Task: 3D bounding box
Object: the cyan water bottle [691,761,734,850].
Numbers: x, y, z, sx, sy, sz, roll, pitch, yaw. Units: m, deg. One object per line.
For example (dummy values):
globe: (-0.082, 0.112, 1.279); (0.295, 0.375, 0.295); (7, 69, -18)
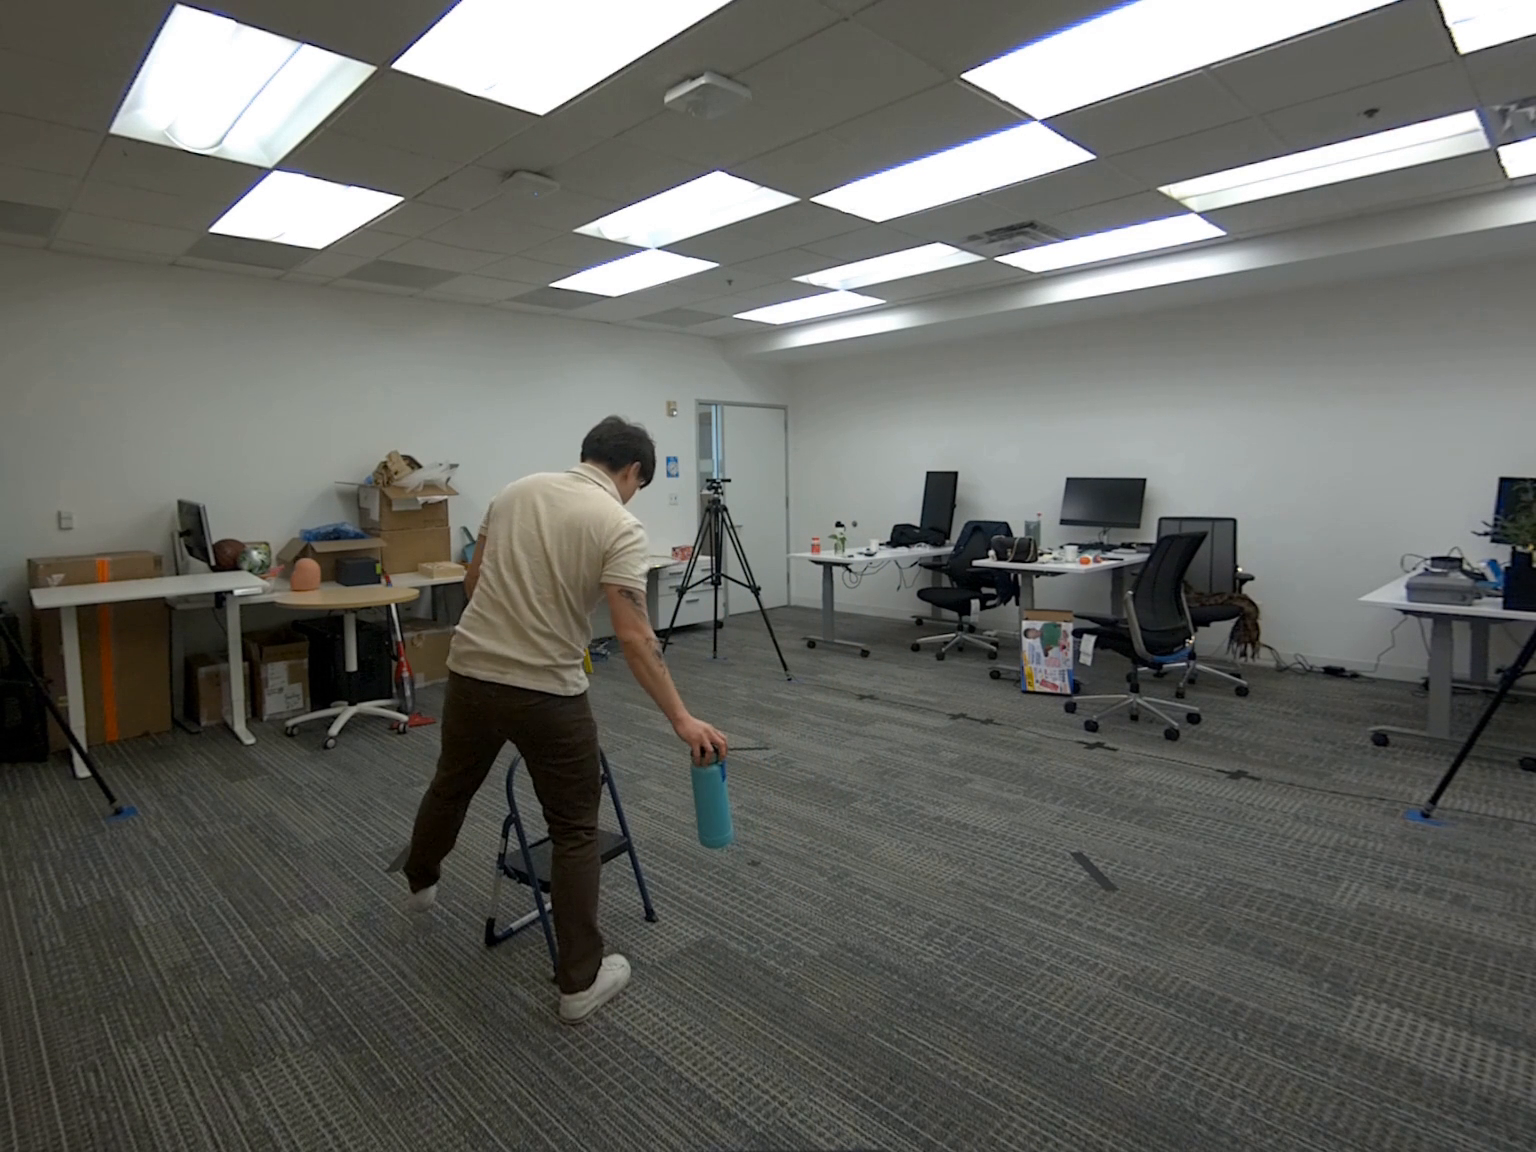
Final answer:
cyan water bottle: (-0.151, 0.530, 2.177); (0.092, 0.280, 0.093); (-4, 12, -1)
